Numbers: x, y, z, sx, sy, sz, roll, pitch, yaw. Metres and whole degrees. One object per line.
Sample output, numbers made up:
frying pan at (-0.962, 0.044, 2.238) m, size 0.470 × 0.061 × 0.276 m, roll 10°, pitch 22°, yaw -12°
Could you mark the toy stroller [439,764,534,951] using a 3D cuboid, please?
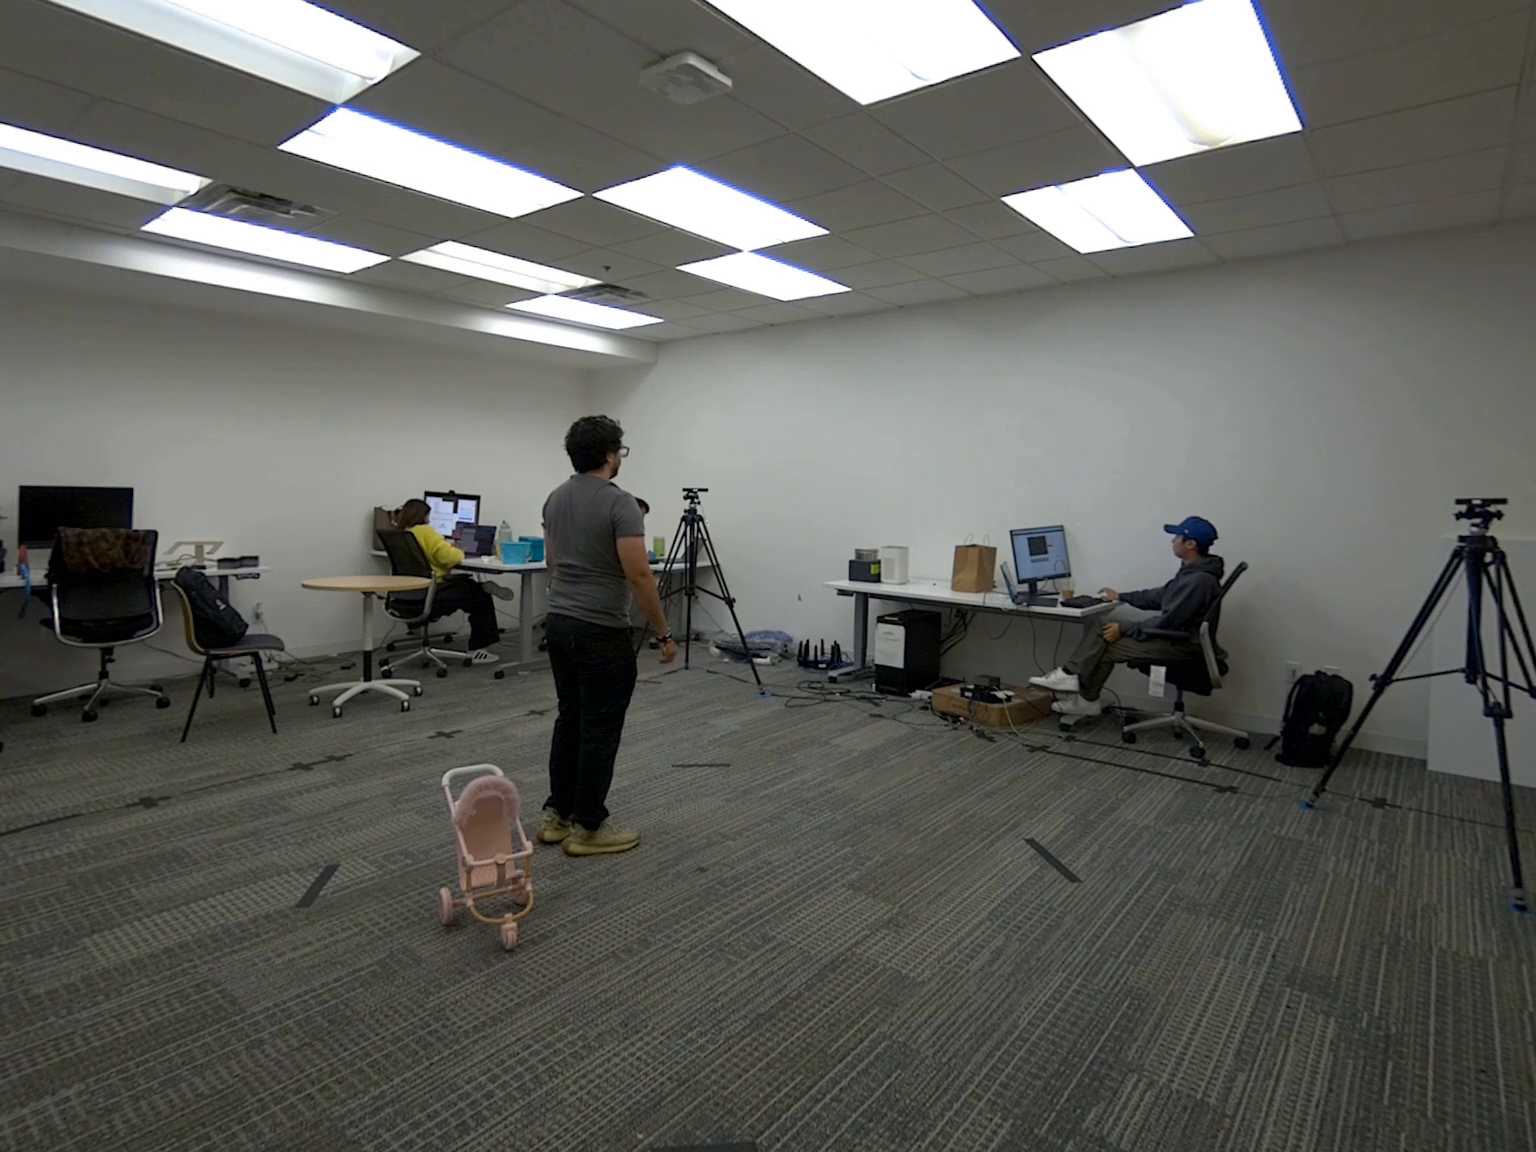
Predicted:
toy stroller at (-0.897, 0.875, 2.696) m, size 0.274 × 0.541 × 0.347 m, roll -1°, pitch -12°, yaw -32°
